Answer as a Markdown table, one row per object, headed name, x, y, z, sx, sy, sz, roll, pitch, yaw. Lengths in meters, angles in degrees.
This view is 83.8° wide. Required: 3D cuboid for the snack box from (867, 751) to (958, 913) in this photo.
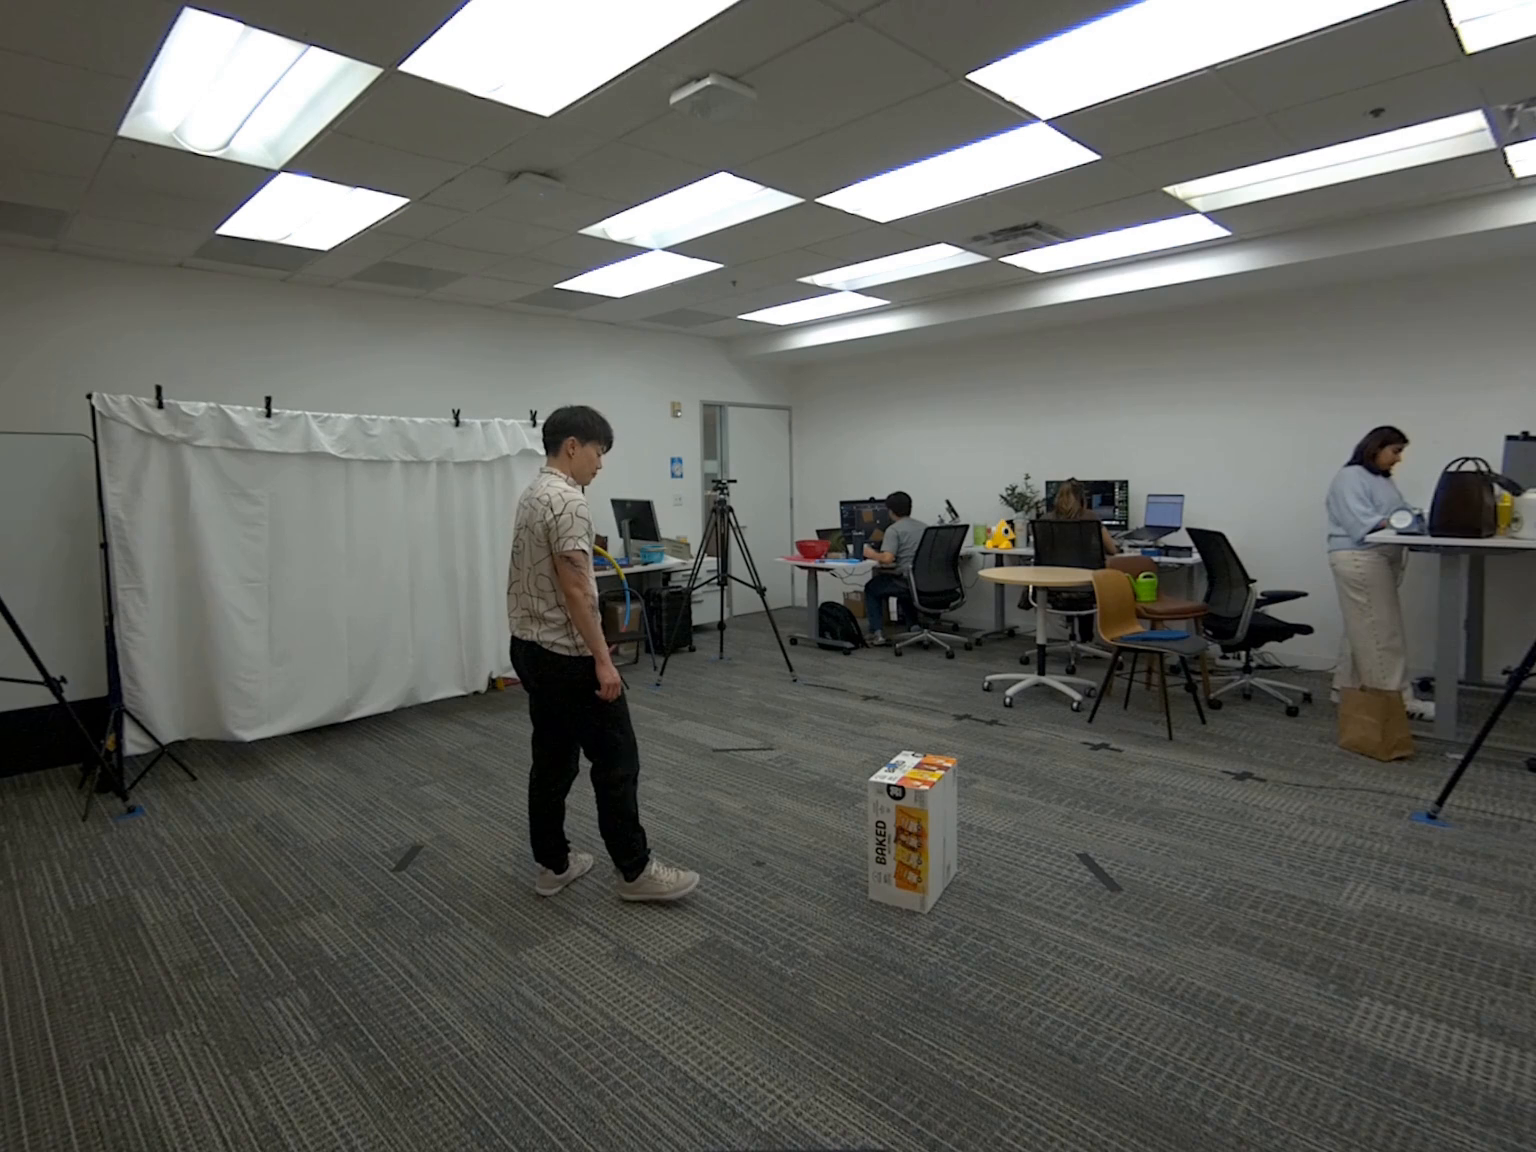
| name | x | y | z | sx | sy | sz | roll | pitch | yaw |
| --- | --- | --- | --- | --- | --- | --- | --- | --- | --- |
| snack box | 0.505 | 0.857 | 2.909 | 0.211 | 0.403 | 0.333 | 1 | 5 | 28 |
